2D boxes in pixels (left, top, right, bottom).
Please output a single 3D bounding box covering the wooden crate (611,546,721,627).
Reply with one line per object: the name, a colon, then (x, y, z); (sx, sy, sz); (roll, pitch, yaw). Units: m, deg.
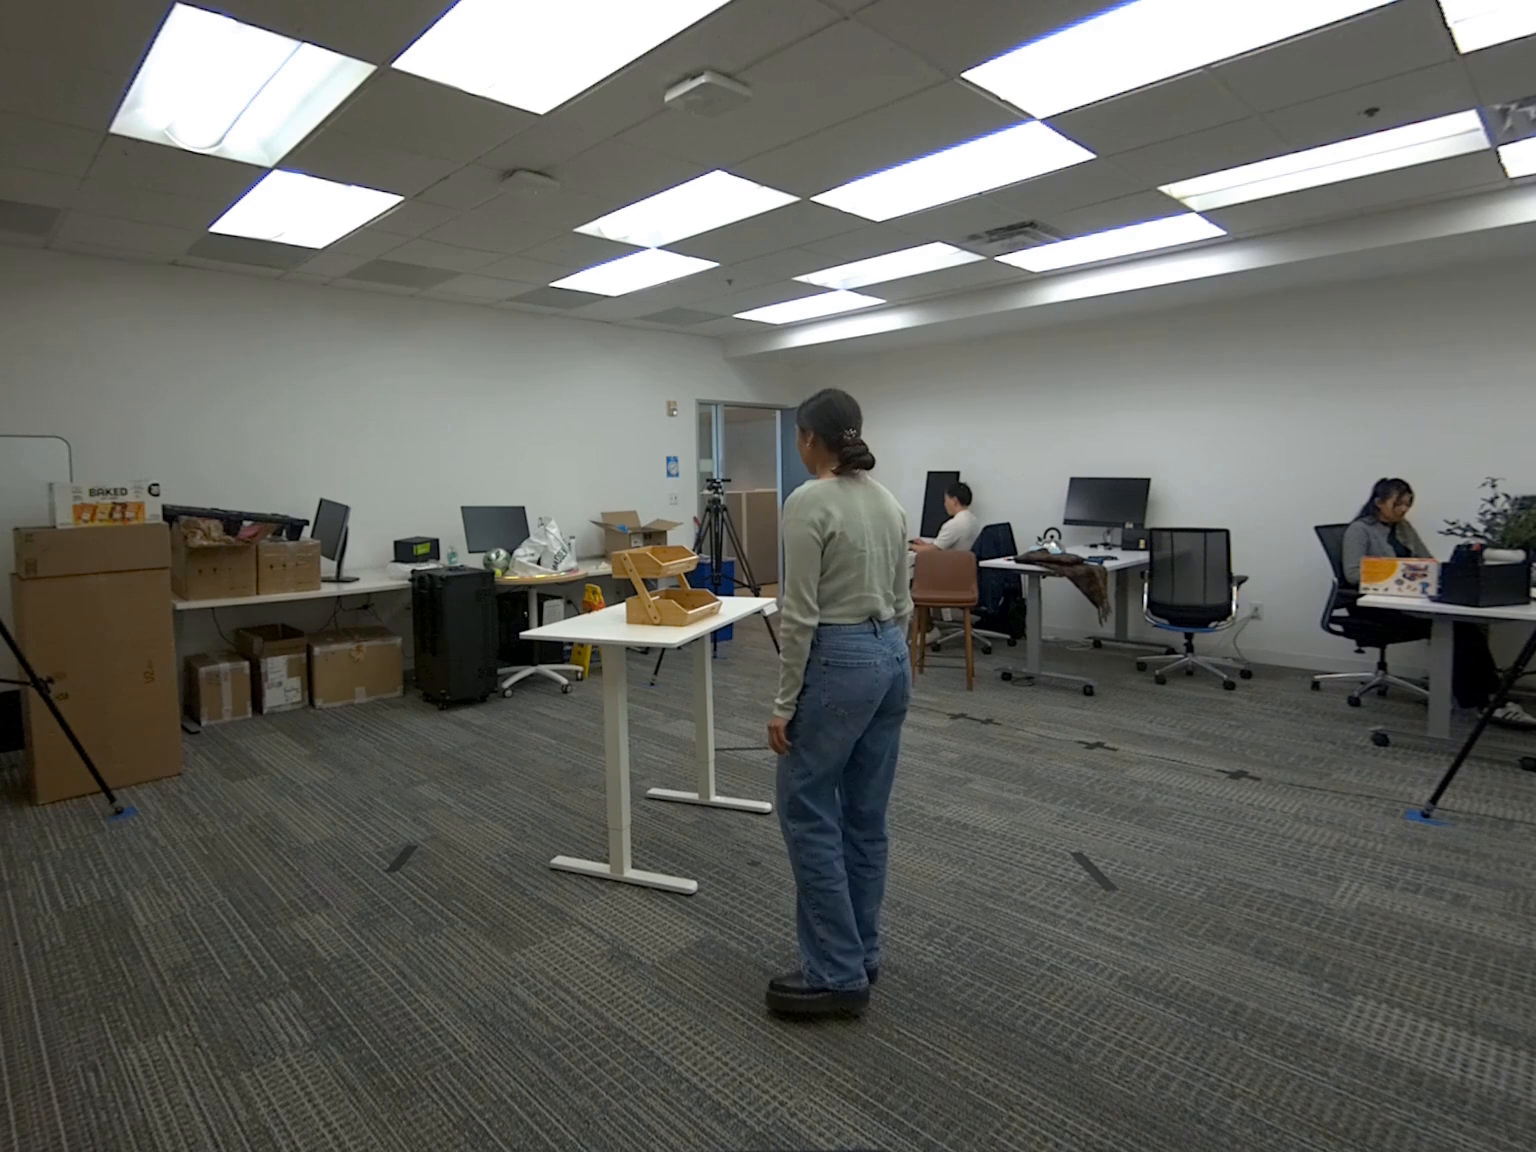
wooden crate: (-0.364, 0.026, 3.183); (0.308, 0.272, 0.319); (-1, 5, 22)
